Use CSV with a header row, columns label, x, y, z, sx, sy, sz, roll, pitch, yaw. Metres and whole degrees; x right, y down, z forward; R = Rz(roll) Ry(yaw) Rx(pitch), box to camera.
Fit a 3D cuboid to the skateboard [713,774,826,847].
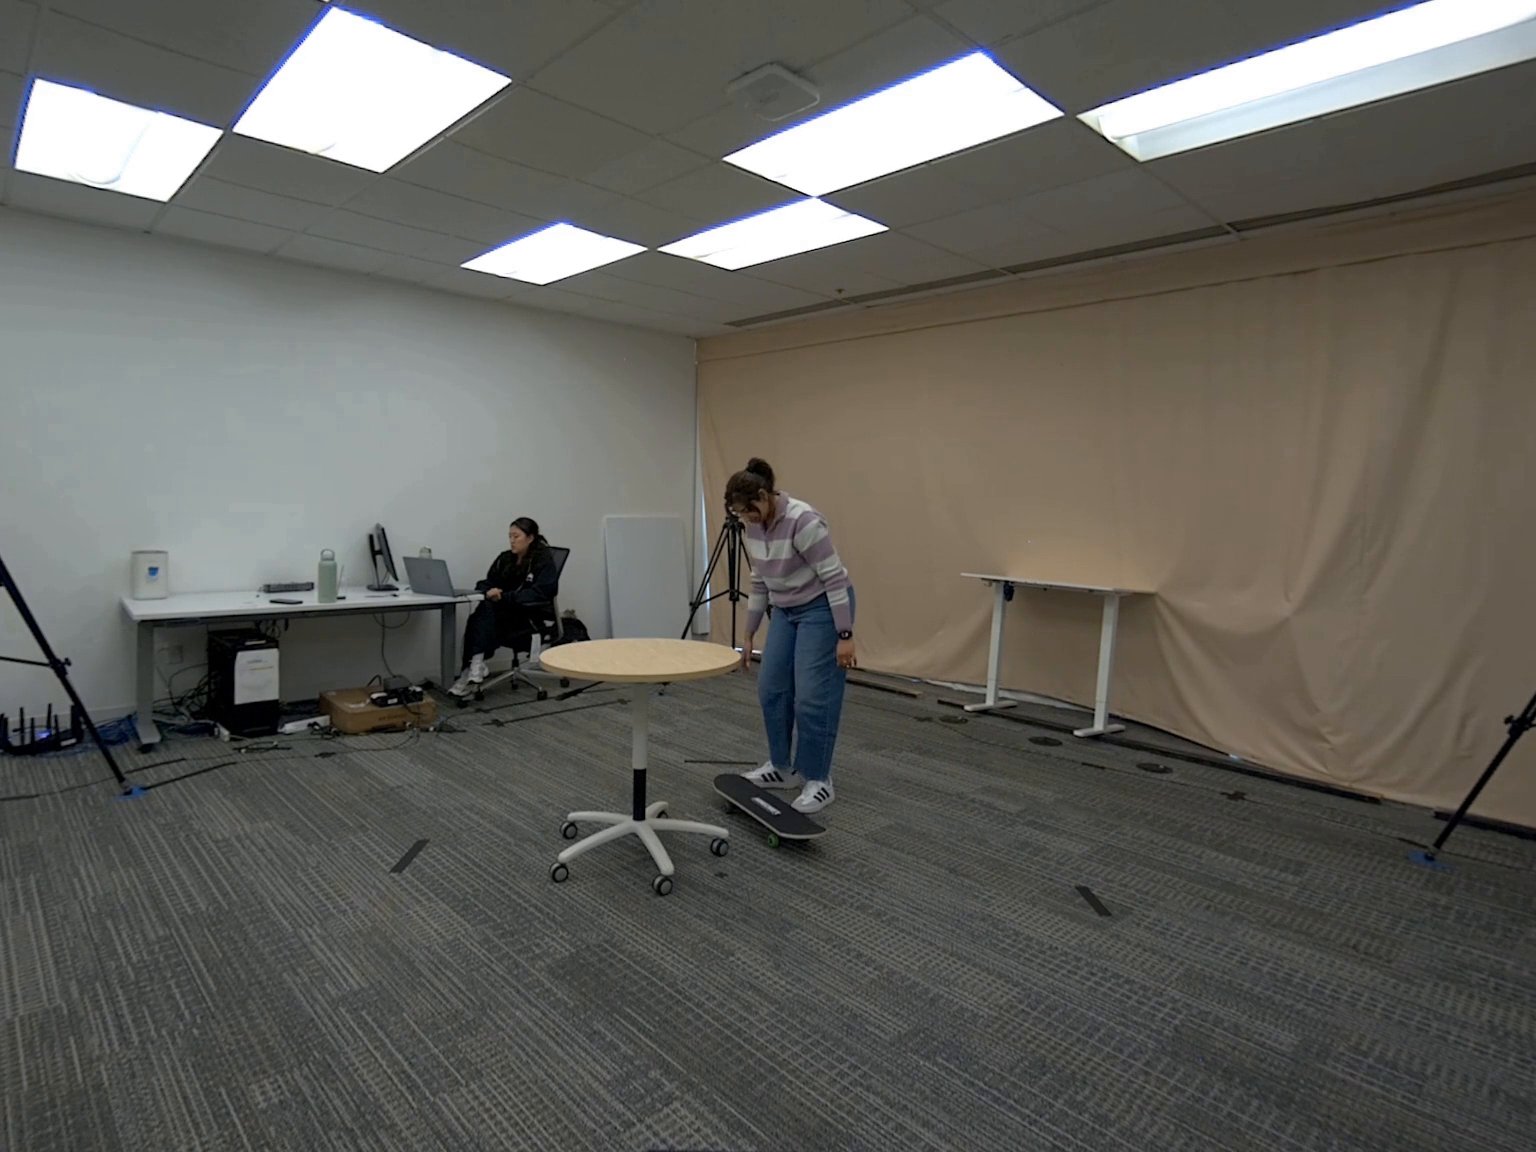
label,x,y,z,sx,sy,sz,roll,pitch,yaw
skateboard,-0.023,1.009,3.583,0.190,0.110,0.803,-1,5,-29
